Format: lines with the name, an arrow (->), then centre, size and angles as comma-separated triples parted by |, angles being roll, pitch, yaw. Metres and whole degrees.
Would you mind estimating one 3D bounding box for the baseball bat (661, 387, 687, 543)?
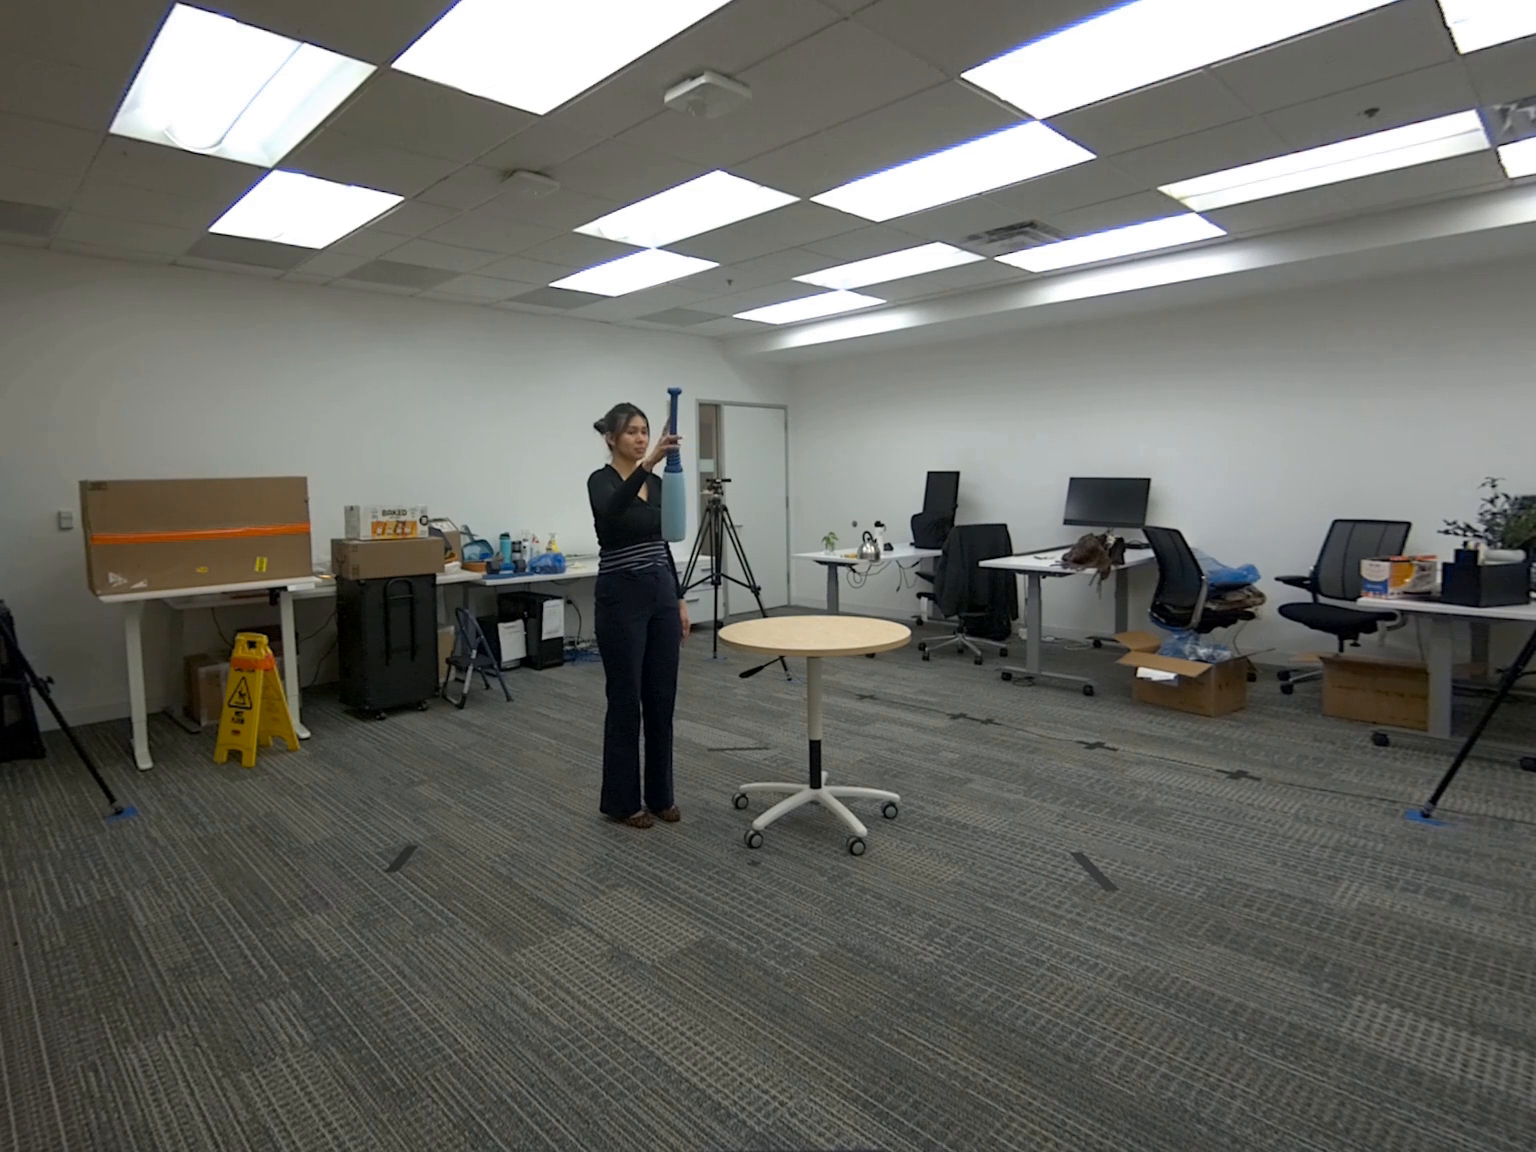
baseball bat -> -0.333, -0.386, 2.981 | 0.089, 0.536, 0.090 | 3, 15, -3
